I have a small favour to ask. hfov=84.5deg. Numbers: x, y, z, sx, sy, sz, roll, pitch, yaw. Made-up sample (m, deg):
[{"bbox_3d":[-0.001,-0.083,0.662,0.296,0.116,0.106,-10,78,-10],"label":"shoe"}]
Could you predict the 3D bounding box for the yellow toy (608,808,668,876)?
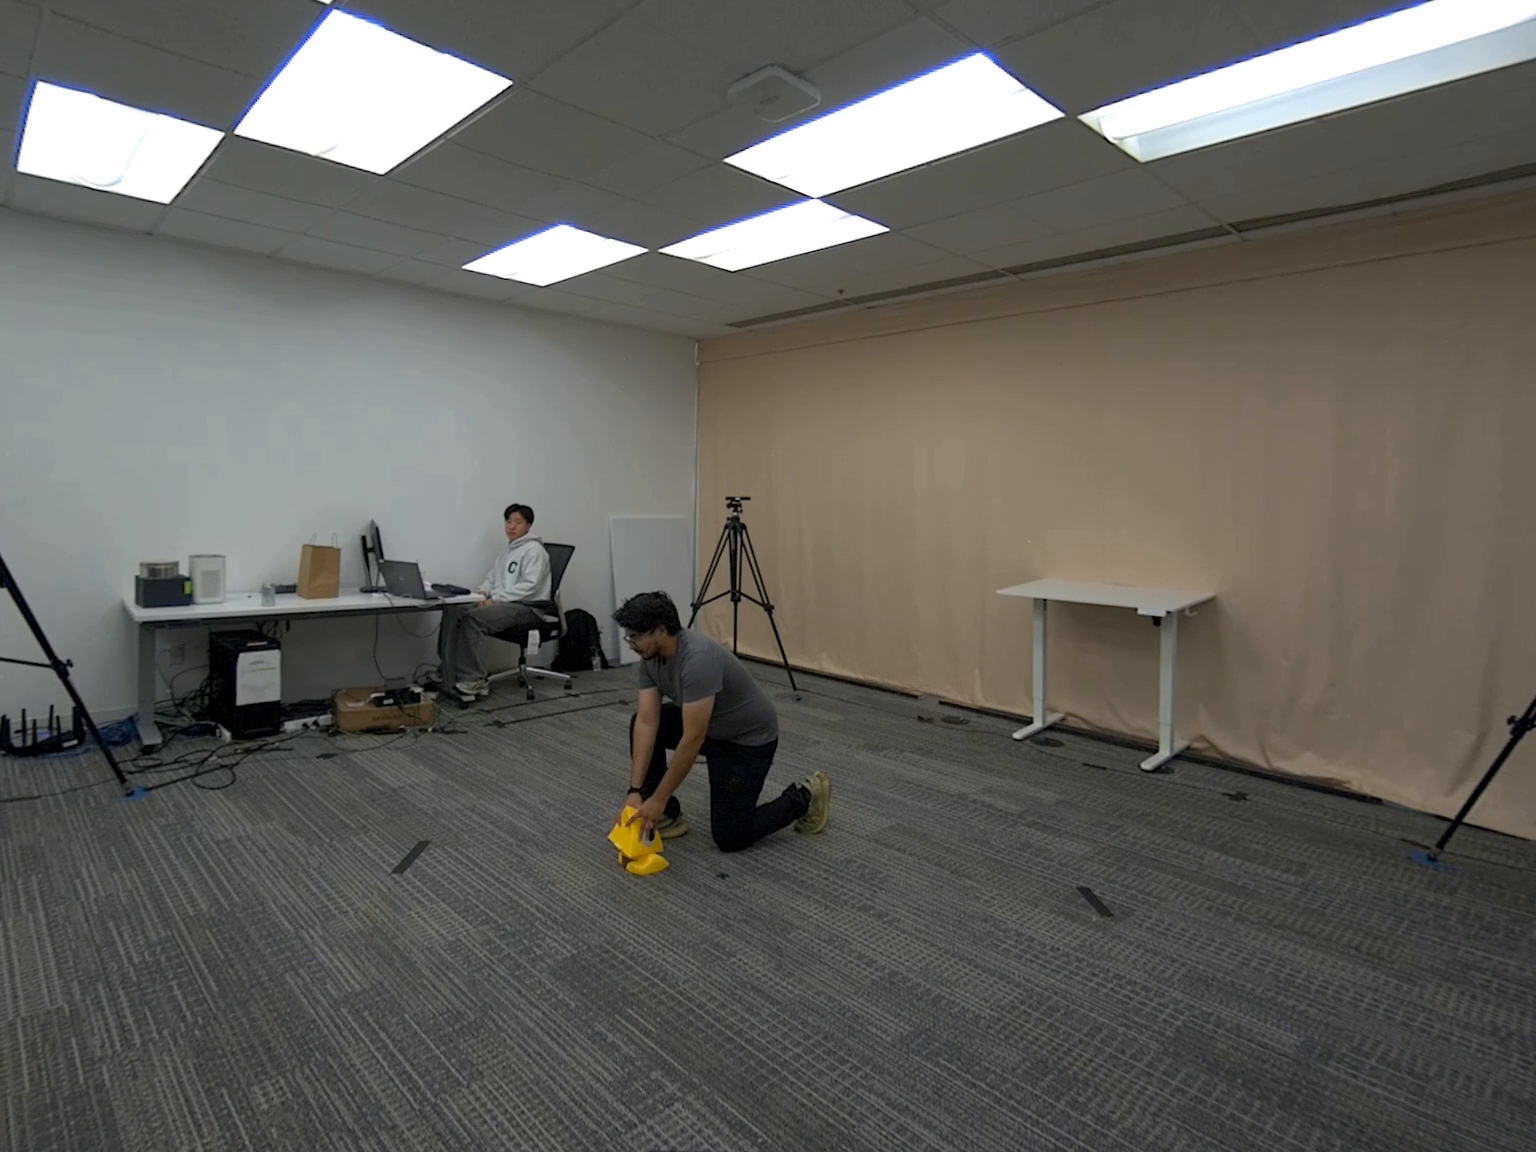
[{"bbox_3d":[-0.496,0.981,3.196,0.189,0.230,0.209,0,3,-32],"label":"yellow toy"}]
